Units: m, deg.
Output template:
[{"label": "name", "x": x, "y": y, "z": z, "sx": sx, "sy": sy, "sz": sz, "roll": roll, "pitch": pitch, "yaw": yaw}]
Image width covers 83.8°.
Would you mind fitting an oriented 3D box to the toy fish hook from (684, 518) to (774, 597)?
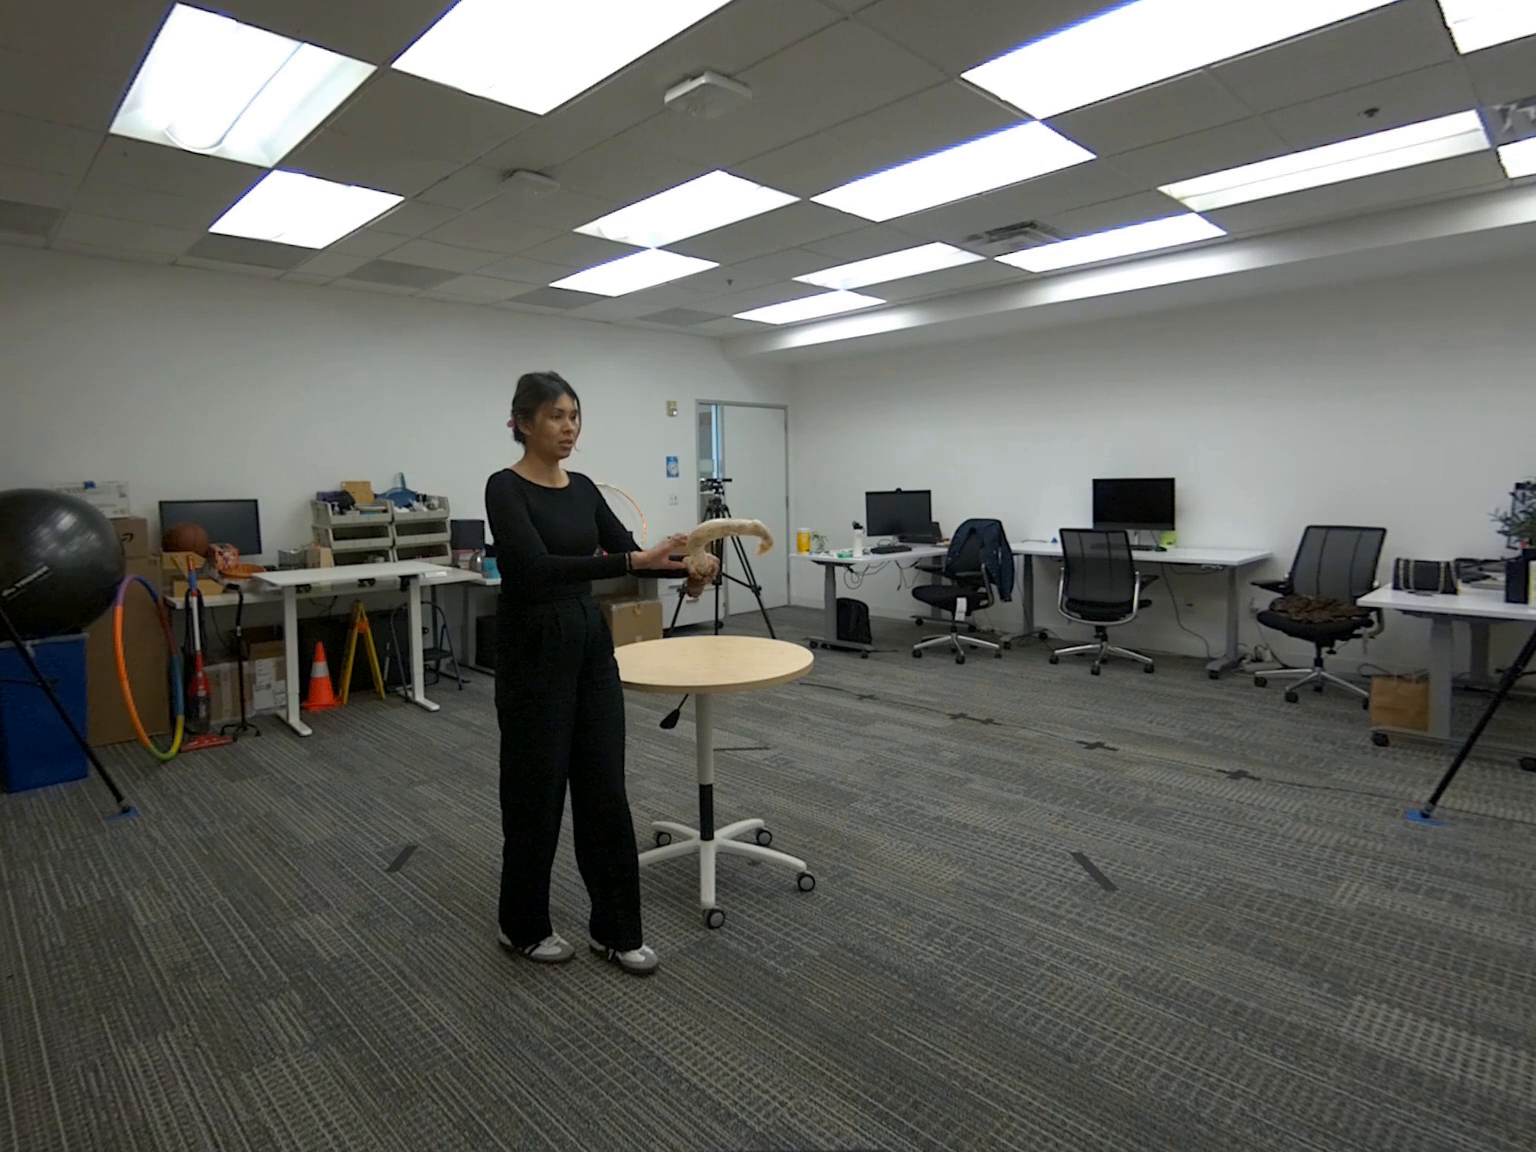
[{"label": "toy fish hook", "x": -0.116, "y": -0.036, "z": 2.279, "sx": 0.223, "sy": 0.049, "sz": 0.501, "roll": 4, "pitch": -23, "yaw": -9}]
